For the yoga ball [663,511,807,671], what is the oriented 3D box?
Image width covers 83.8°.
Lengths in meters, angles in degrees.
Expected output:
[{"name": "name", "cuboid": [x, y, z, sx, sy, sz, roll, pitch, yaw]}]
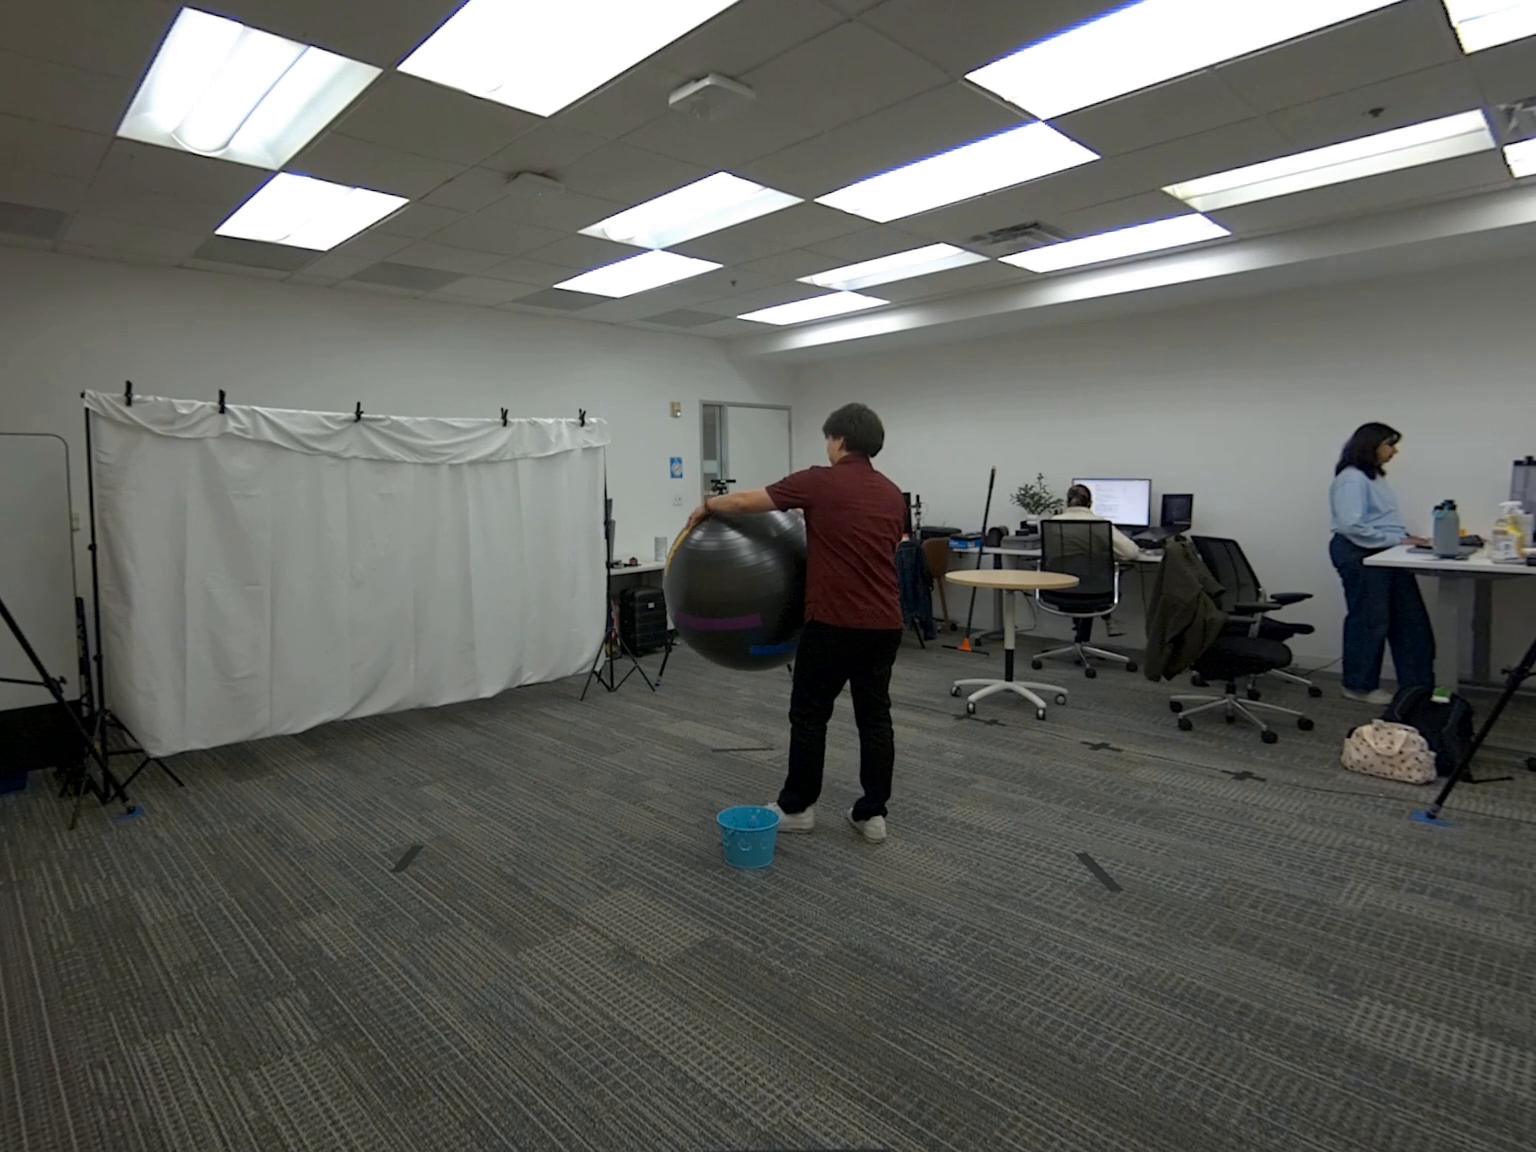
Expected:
[{"name": "yoga ball", "cuboid": [-0.081, 0.036, 3.719, 0.757, 0.755, 0.762, -1, 5, -2]}]
